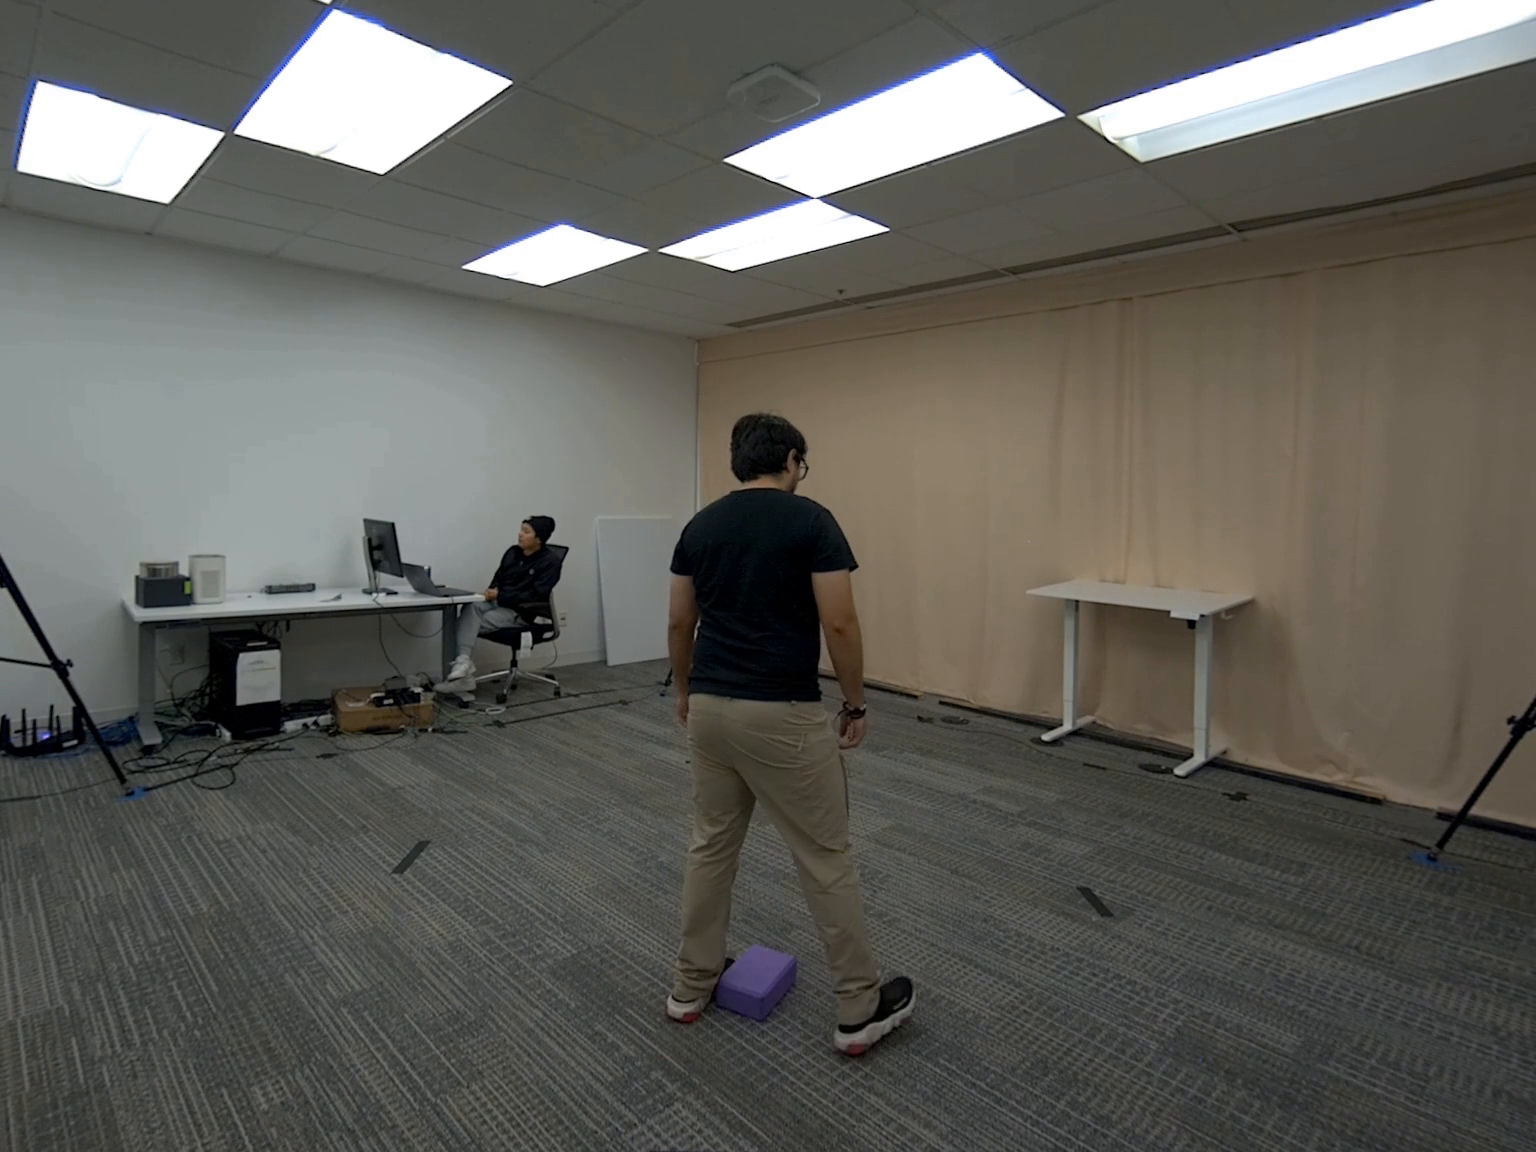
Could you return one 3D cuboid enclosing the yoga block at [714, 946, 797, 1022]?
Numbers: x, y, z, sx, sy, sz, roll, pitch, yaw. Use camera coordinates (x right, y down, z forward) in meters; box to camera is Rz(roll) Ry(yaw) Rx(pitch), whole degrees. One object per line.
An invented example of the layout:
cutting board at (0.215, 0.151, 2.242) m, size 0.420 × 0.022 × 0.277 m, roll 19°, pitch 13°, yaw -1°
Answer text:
yoga block at (-0.035, 1.135, 2.363) m, size 0.152 × 0.076 × 0.225 m, roll 3°, pitch 4°, yaw 26°
